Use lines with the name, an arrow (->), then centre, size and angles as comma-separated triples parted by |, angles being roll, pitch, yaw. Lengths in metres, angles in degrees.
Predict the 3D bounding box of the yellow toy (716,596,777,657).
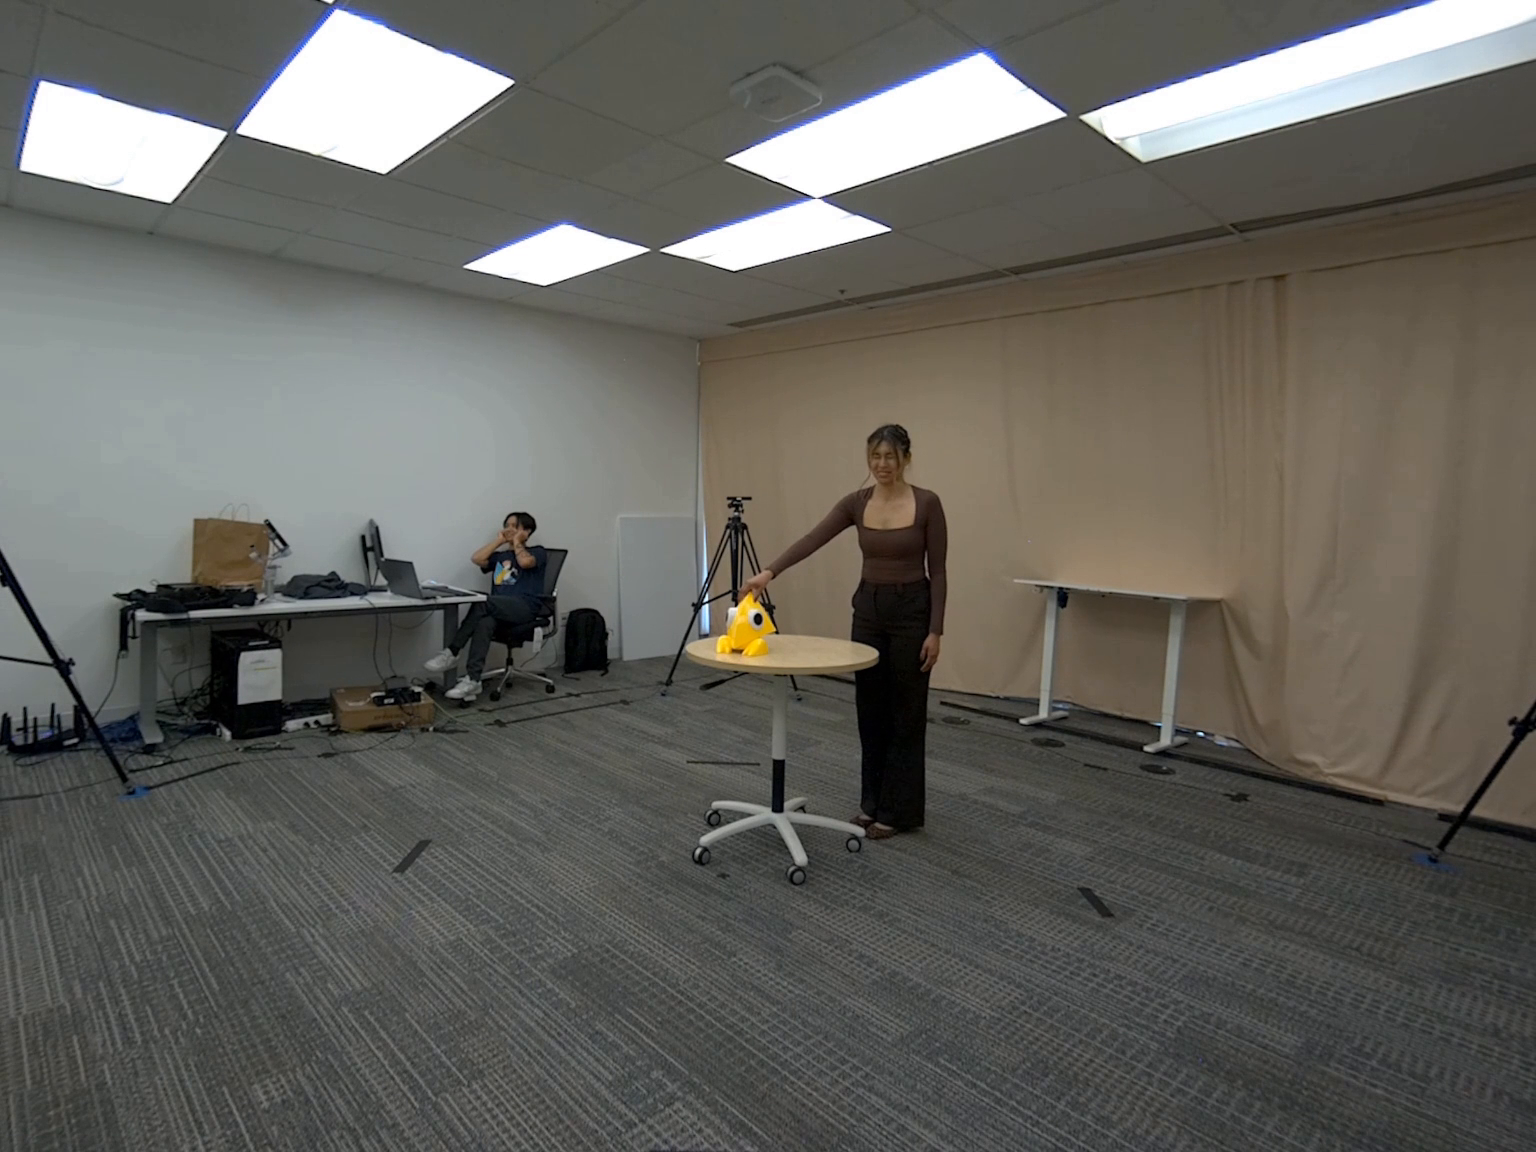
yellow toy -> -0.102, 0.181, 3.281 | 0.208, 0.230, 0.190 | 2, 2, 22
